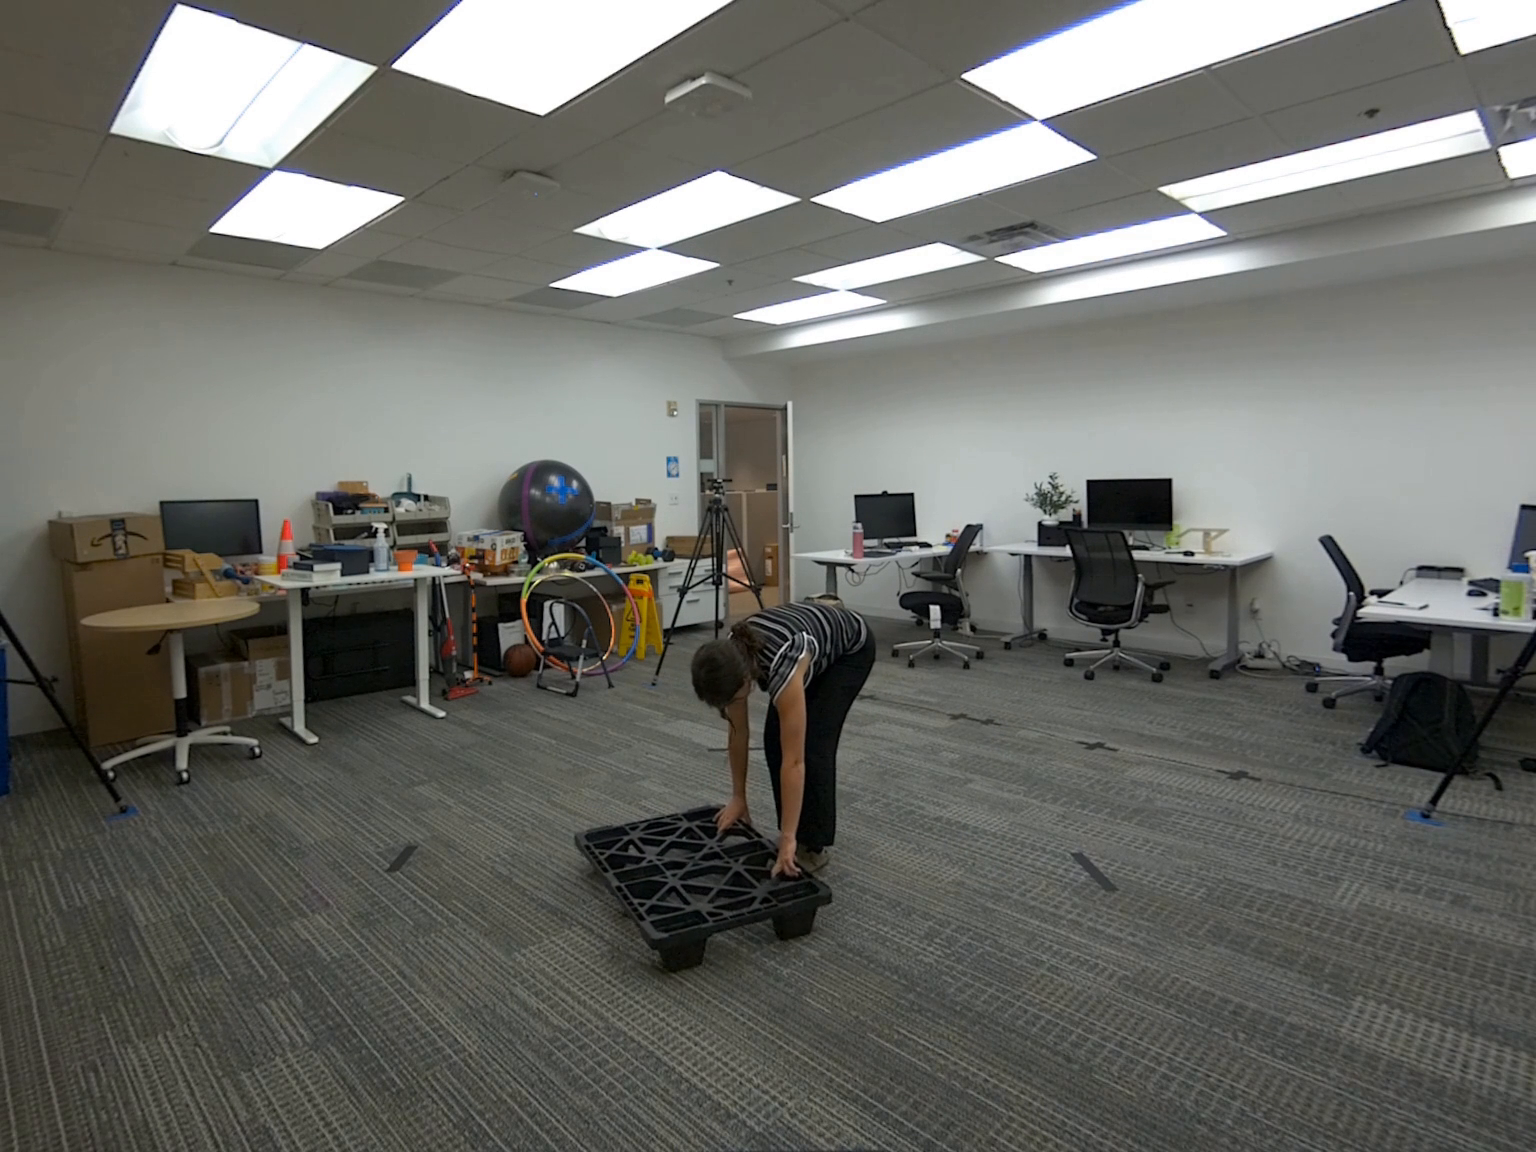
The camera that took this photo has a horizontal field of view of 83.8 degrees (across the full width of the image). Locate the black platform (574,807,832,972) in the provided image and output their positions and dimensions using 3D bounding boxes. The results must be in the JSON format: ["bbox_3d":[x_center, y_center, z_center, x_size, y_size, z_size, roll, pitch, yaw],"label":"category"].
[{"bbox_3d":[-0.250,1.010,2.845,0.592,0.142,0.827,-5,7,-27],"label":"black platform"}]
